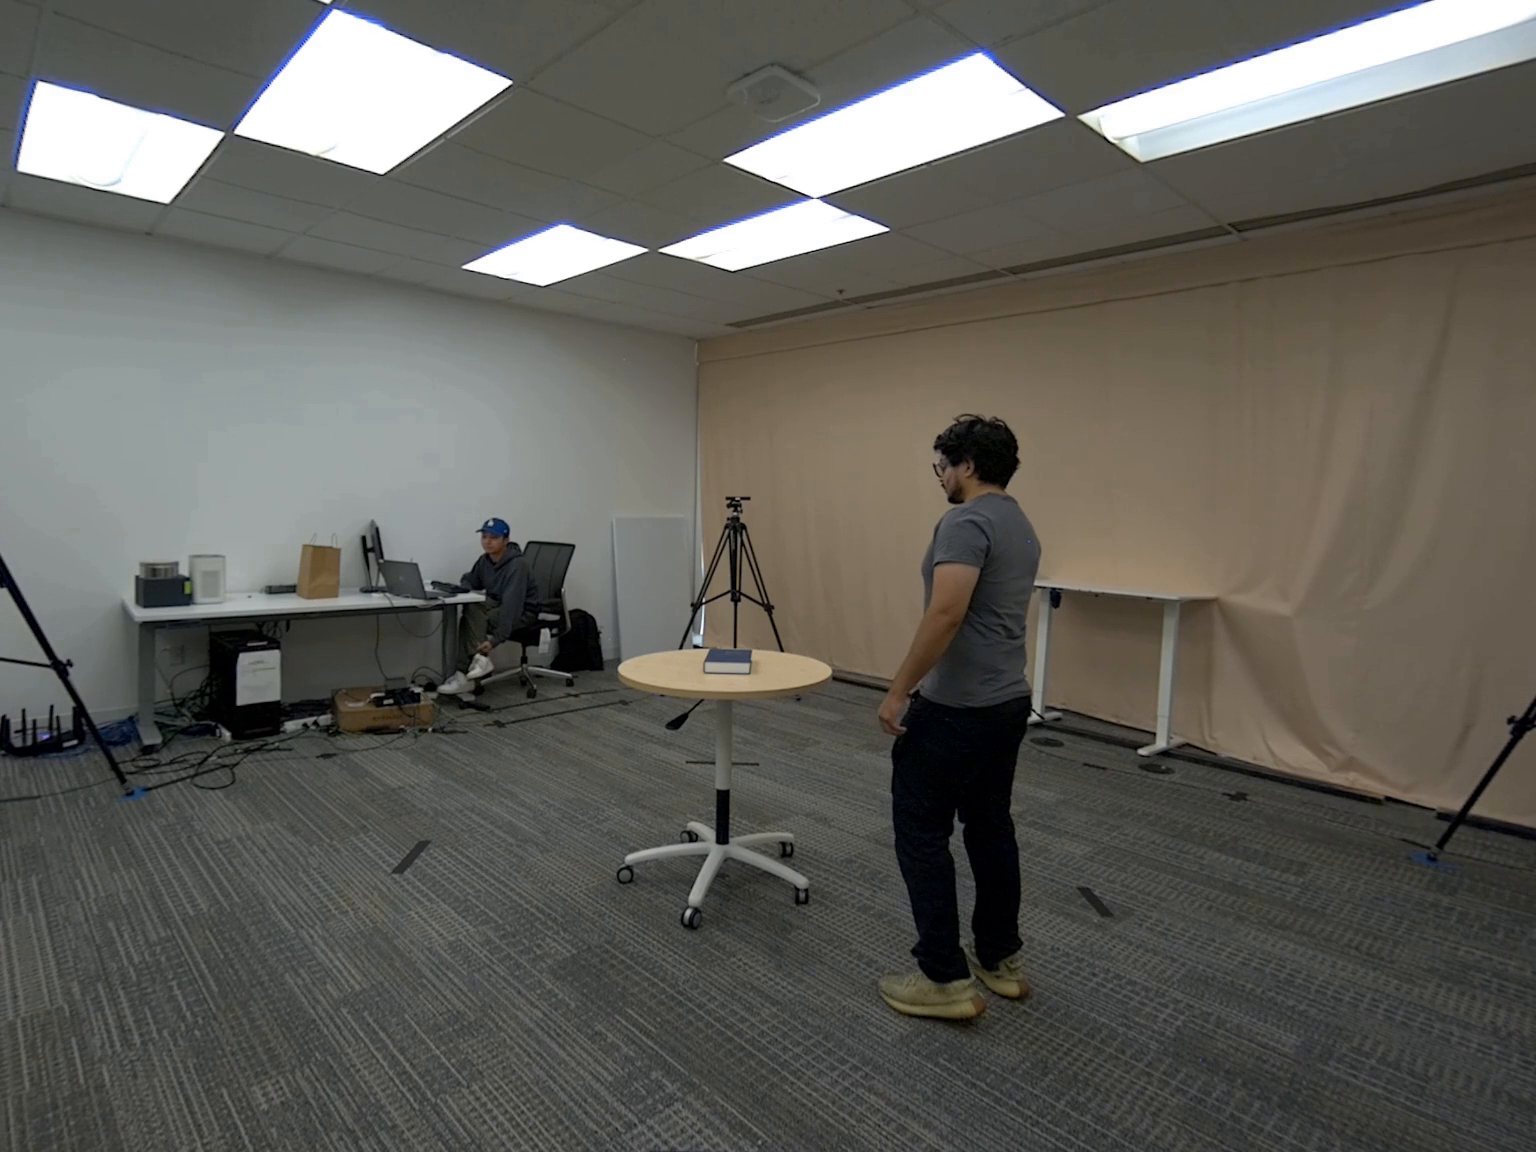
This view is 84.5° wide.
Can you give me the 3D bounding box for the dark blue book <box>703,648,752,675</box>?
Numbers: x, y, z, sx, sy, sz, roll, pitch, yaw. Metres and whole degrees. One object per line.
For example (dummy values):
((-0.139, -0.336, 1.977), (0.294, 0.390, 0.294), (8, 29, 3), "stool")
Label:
((-0.151, 0.310, 3.034), (0.164, 0.045, 0.245), (2, 5, 1), "dark blue book")
